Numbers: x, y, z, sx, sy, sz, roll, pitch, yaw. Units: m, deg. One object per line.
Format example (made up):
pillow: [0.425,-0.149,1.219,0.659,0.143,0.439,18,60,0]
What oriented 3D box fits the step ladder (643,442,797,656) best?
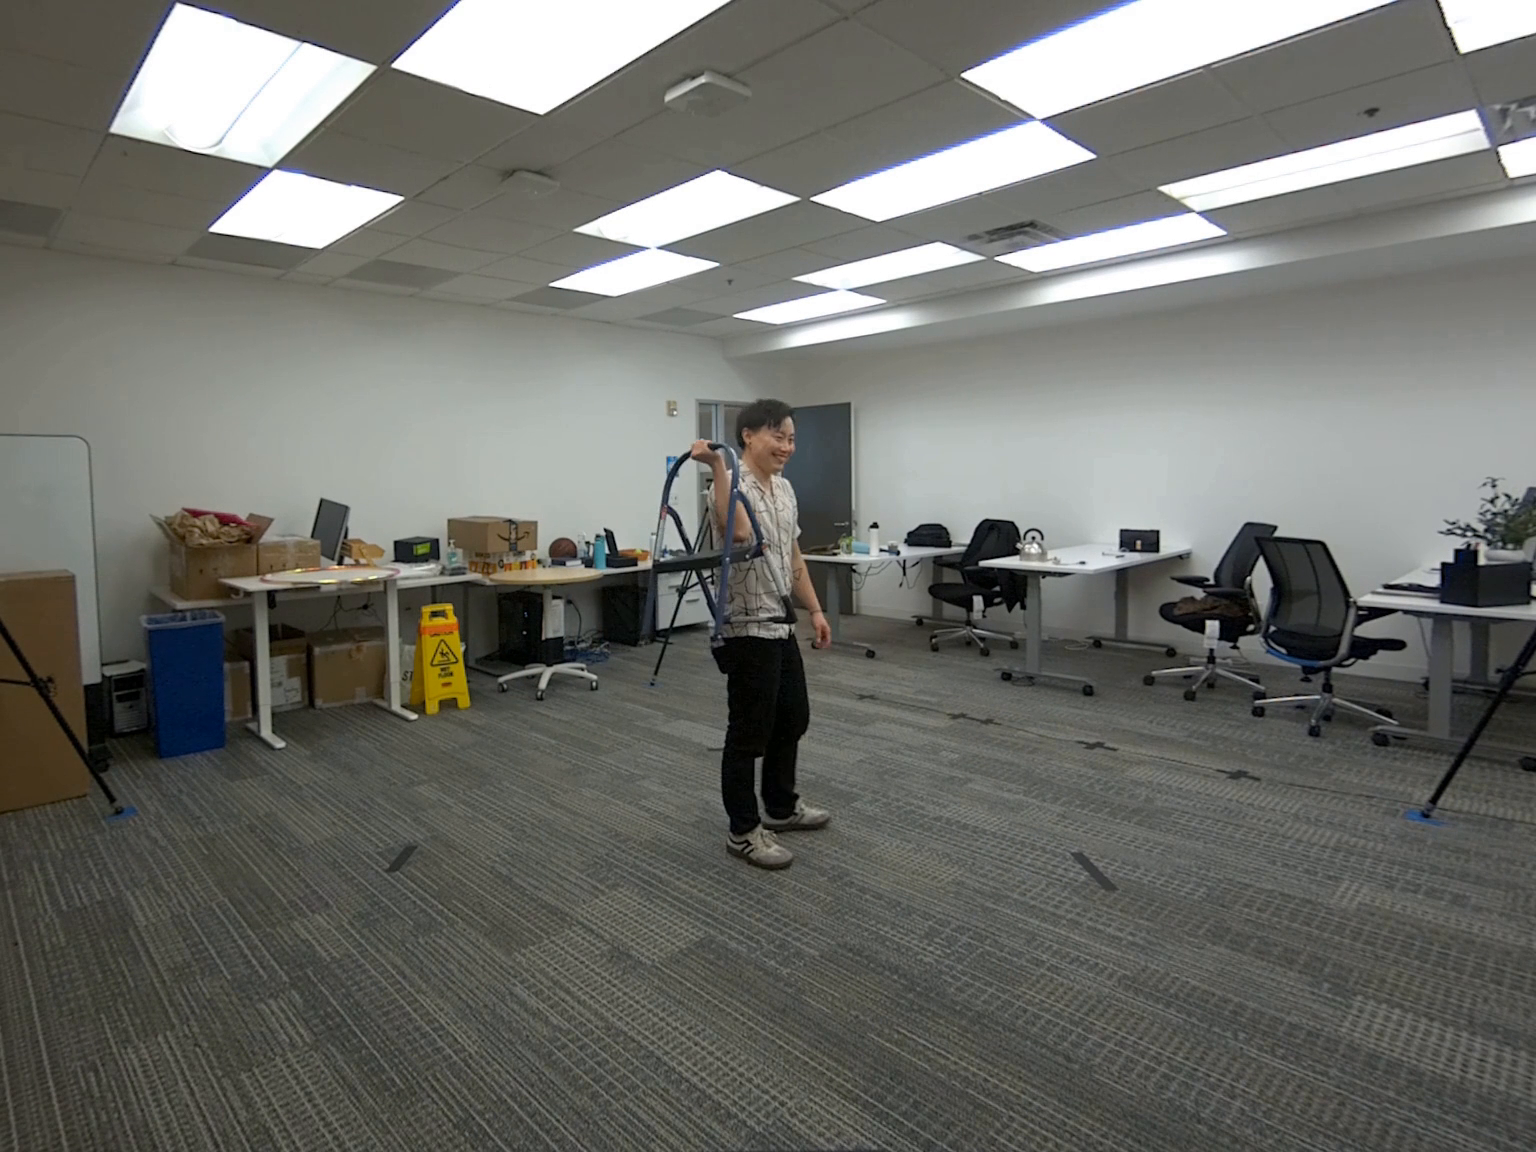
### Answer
step ladder: [-0.221,-0.113,2.735,0.341,0.605,0.441,-10,2,-39]
